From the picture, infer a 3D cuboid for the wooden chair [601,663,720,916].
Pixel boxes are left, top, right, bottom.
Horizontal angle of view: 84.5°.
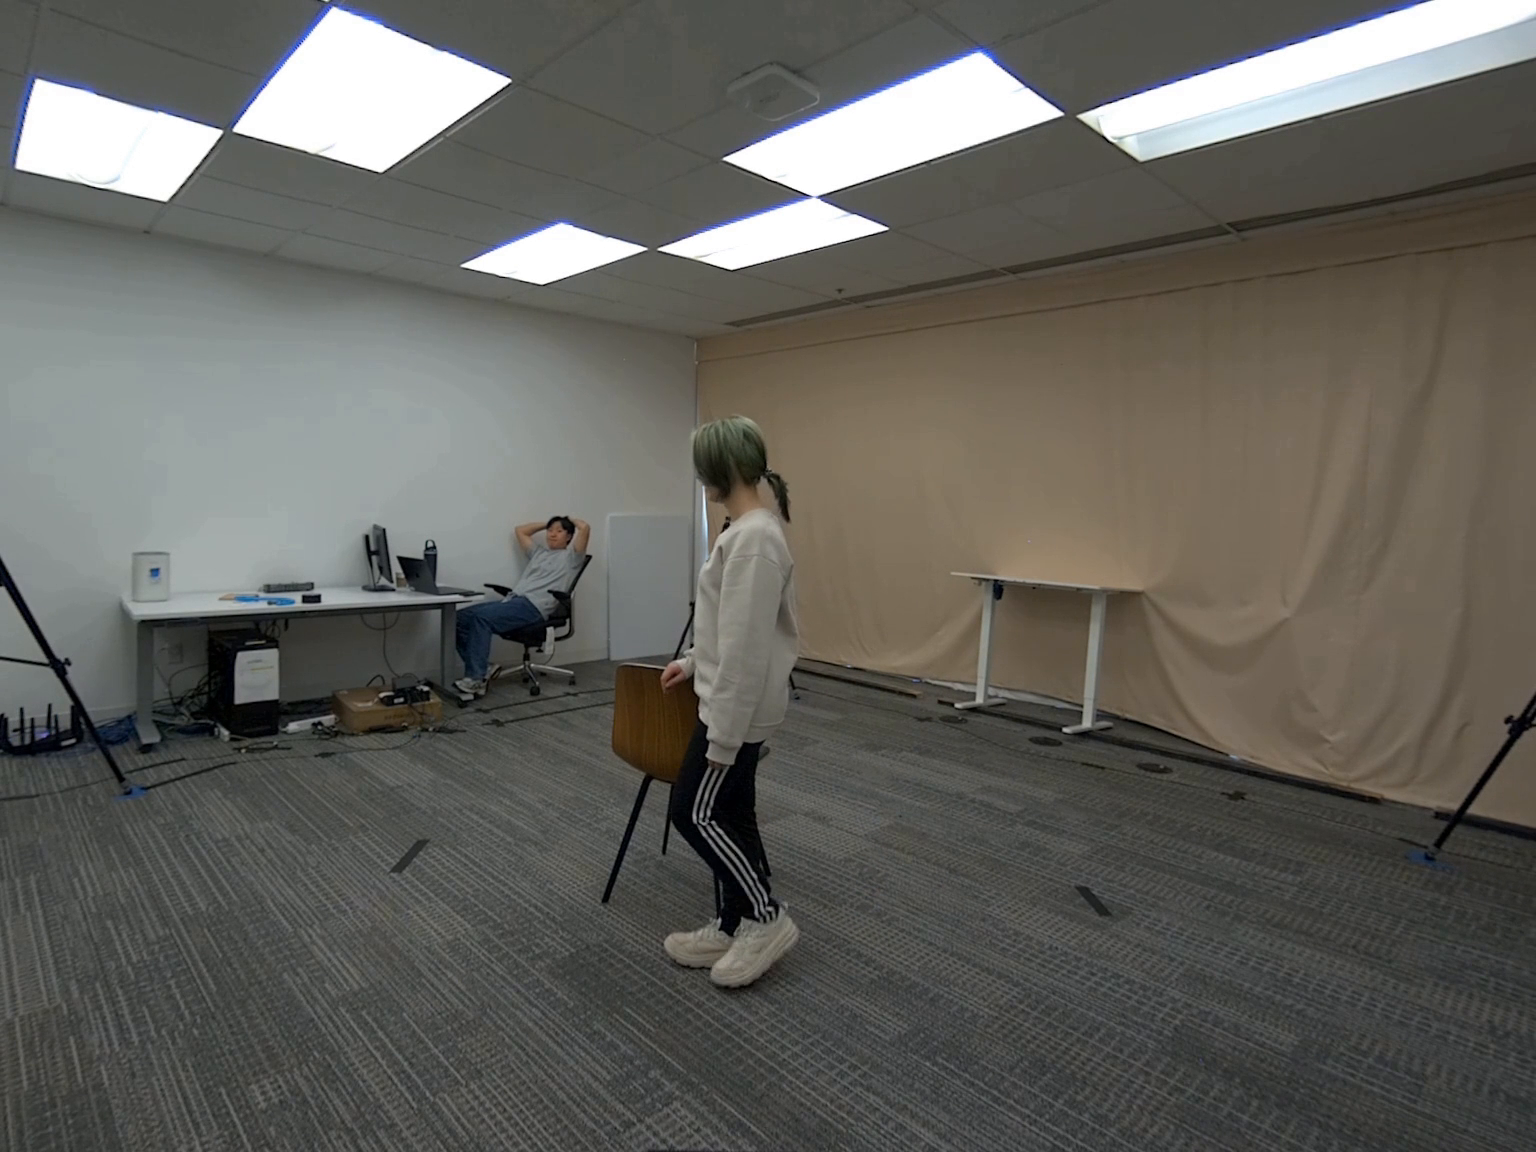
[{"bbox_3d":[-0.272,0.686,2.969,0.487,0.873,0.516,3,8,23],"label":"wooden chair"}]
